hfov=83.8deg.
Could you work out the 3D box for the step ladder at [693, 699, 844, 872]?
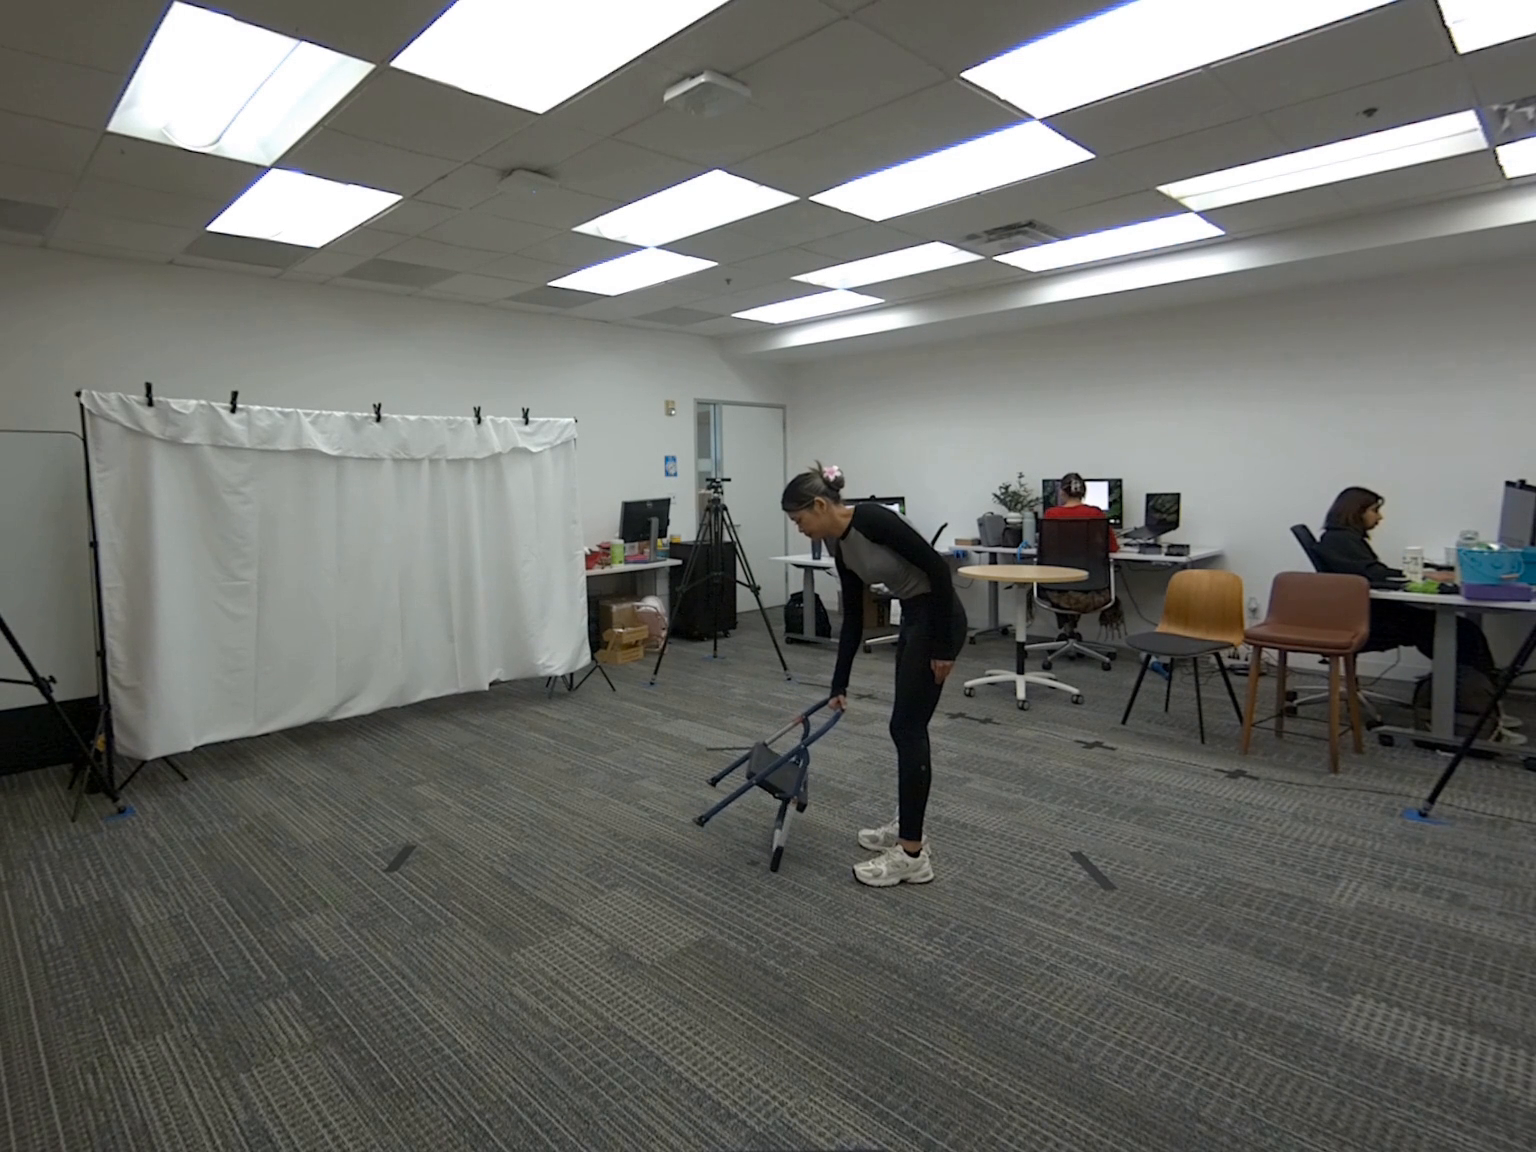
[{"bbox_3d":[0.050,0.692,3.208,0.350,0.605,0.431,31,7,0],"label":"step ladder"}]
